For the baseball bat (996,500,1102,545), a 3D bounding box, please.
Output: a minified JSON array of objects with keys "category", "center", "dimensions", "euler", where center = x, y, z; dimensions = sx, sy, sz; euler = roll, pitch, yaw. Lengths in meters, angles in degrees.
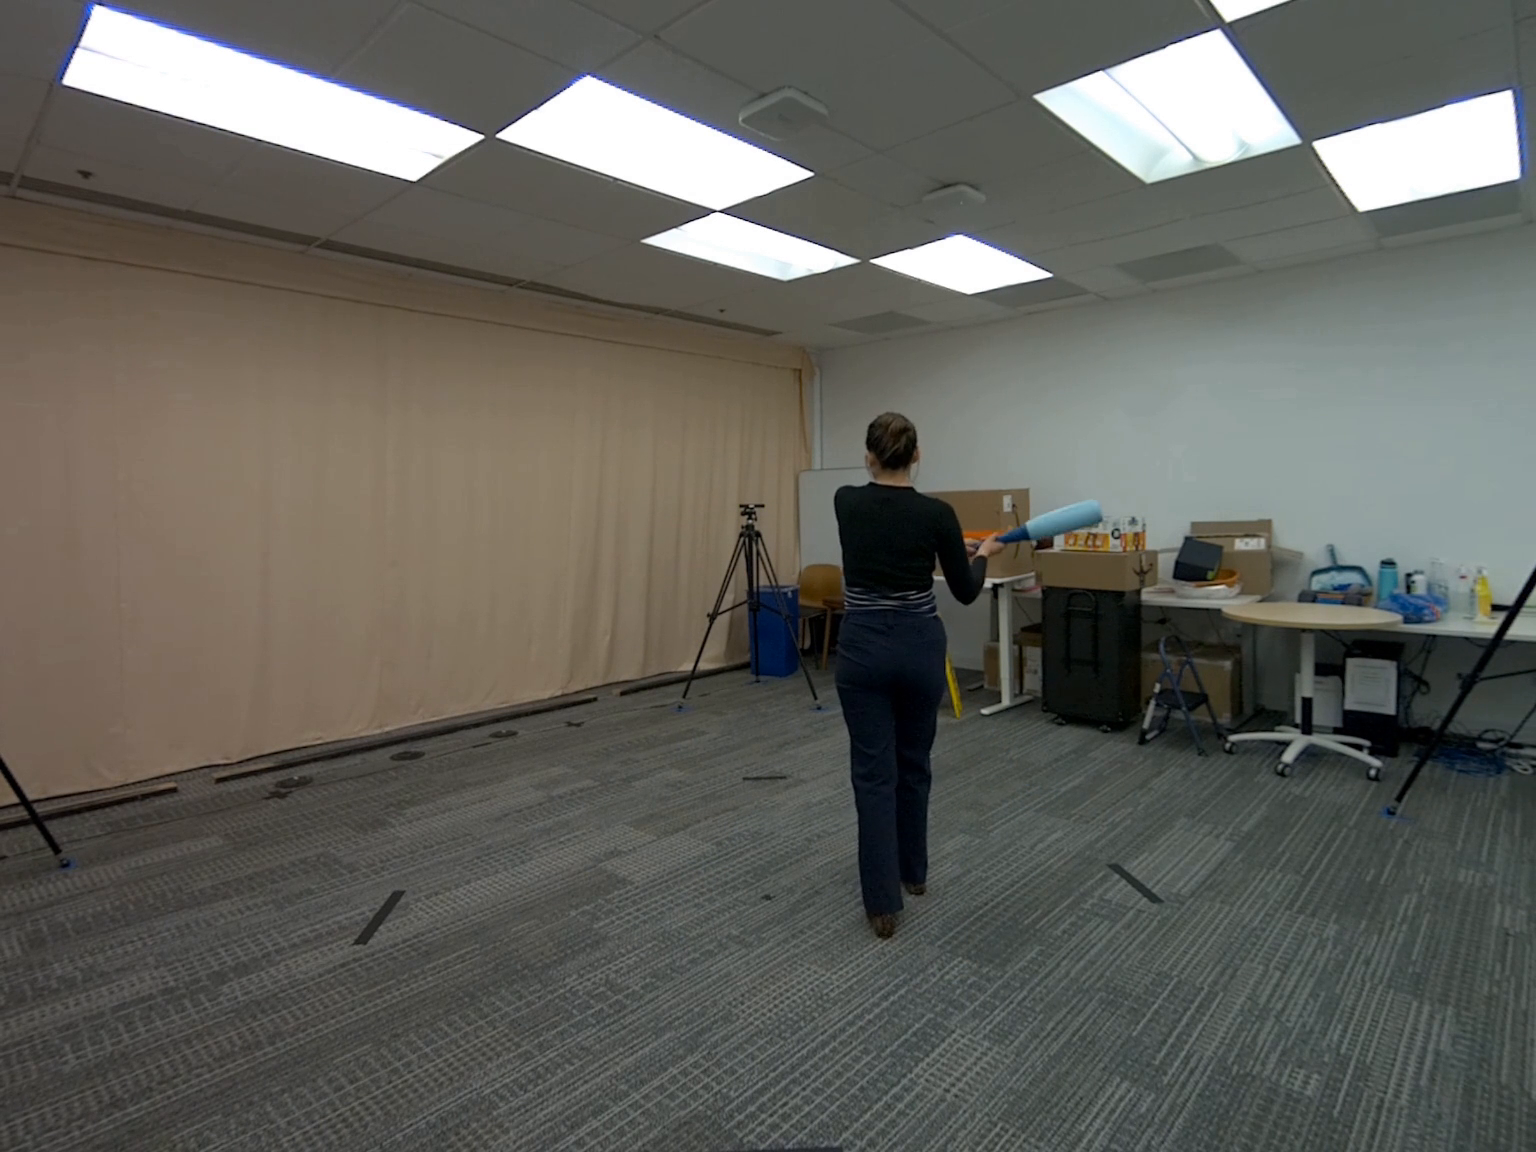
[{"category":"baseball bat","center":[0.910,-0.134,3.023],"dimensions":[0.551,0.089,0.087],"euler":[-18,-2,19]}]
